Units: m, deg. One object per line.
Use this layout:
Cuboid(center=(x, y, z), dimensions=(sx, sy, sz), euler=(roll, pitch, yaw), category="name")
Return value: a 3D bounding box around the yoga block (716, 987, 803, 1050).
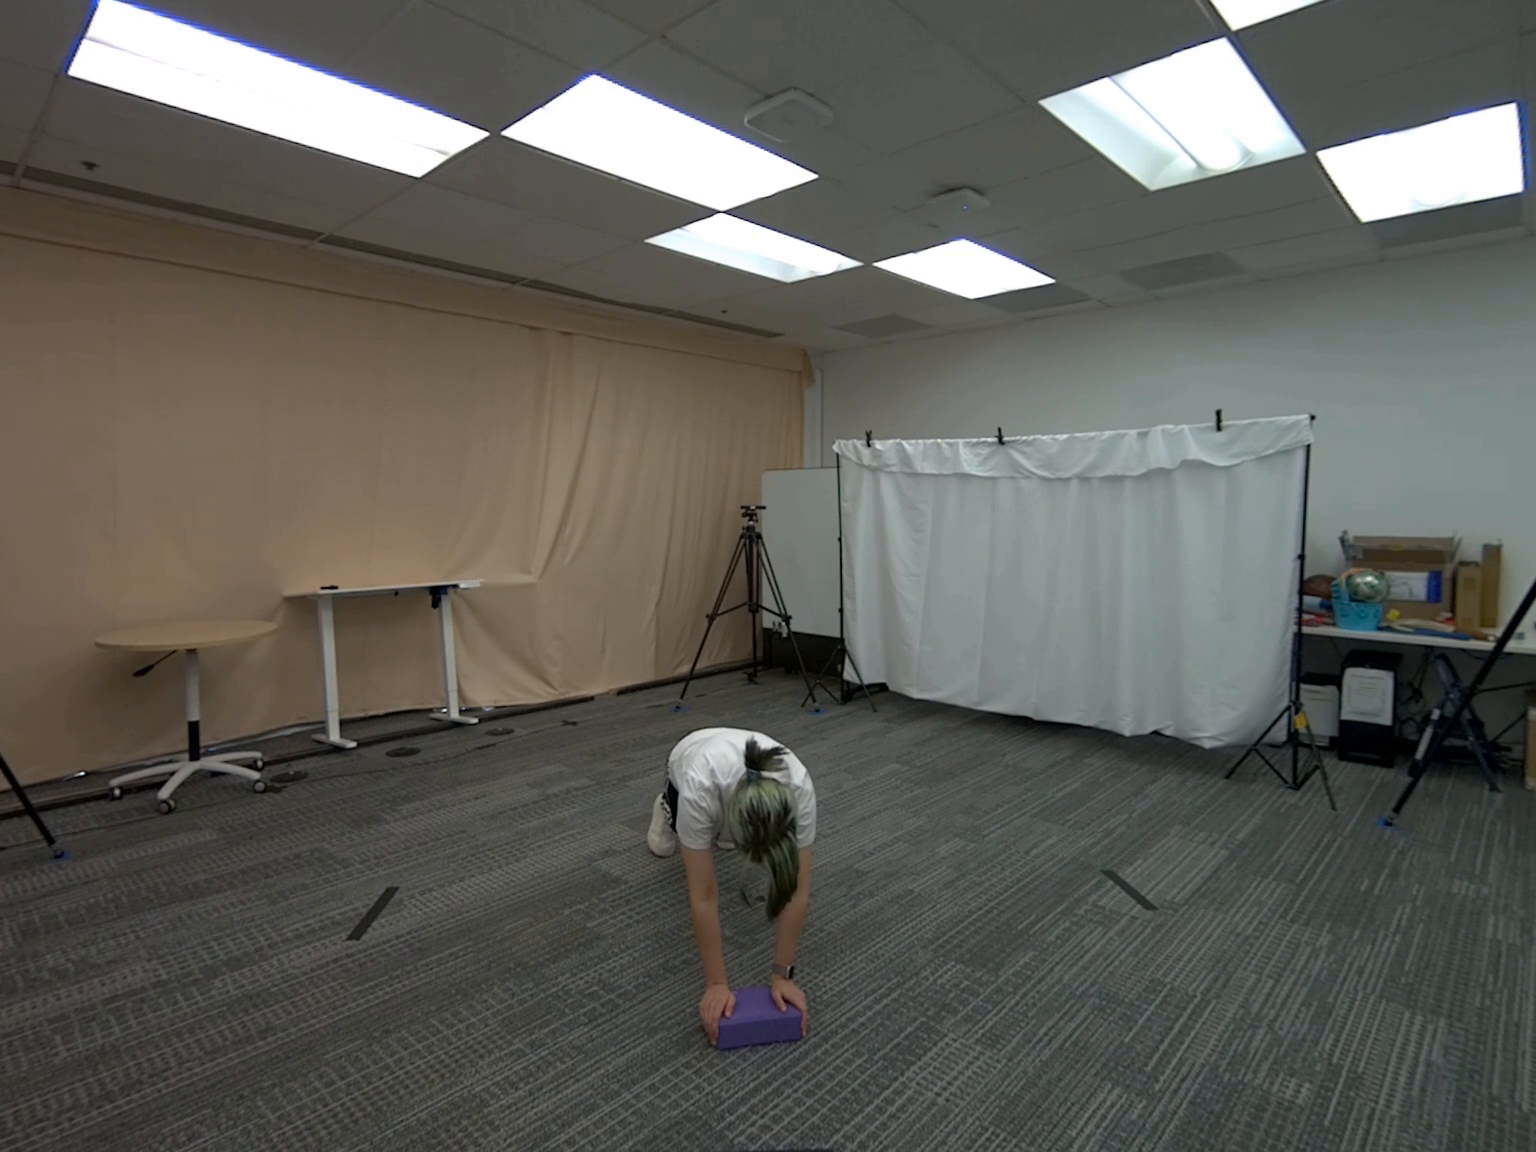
Cuboid(center=(-0.041, 1.166, 2.243), dimensions=(0.227, 0.076, 0.151), euler=(1, 4, -11), category="yoga block")
